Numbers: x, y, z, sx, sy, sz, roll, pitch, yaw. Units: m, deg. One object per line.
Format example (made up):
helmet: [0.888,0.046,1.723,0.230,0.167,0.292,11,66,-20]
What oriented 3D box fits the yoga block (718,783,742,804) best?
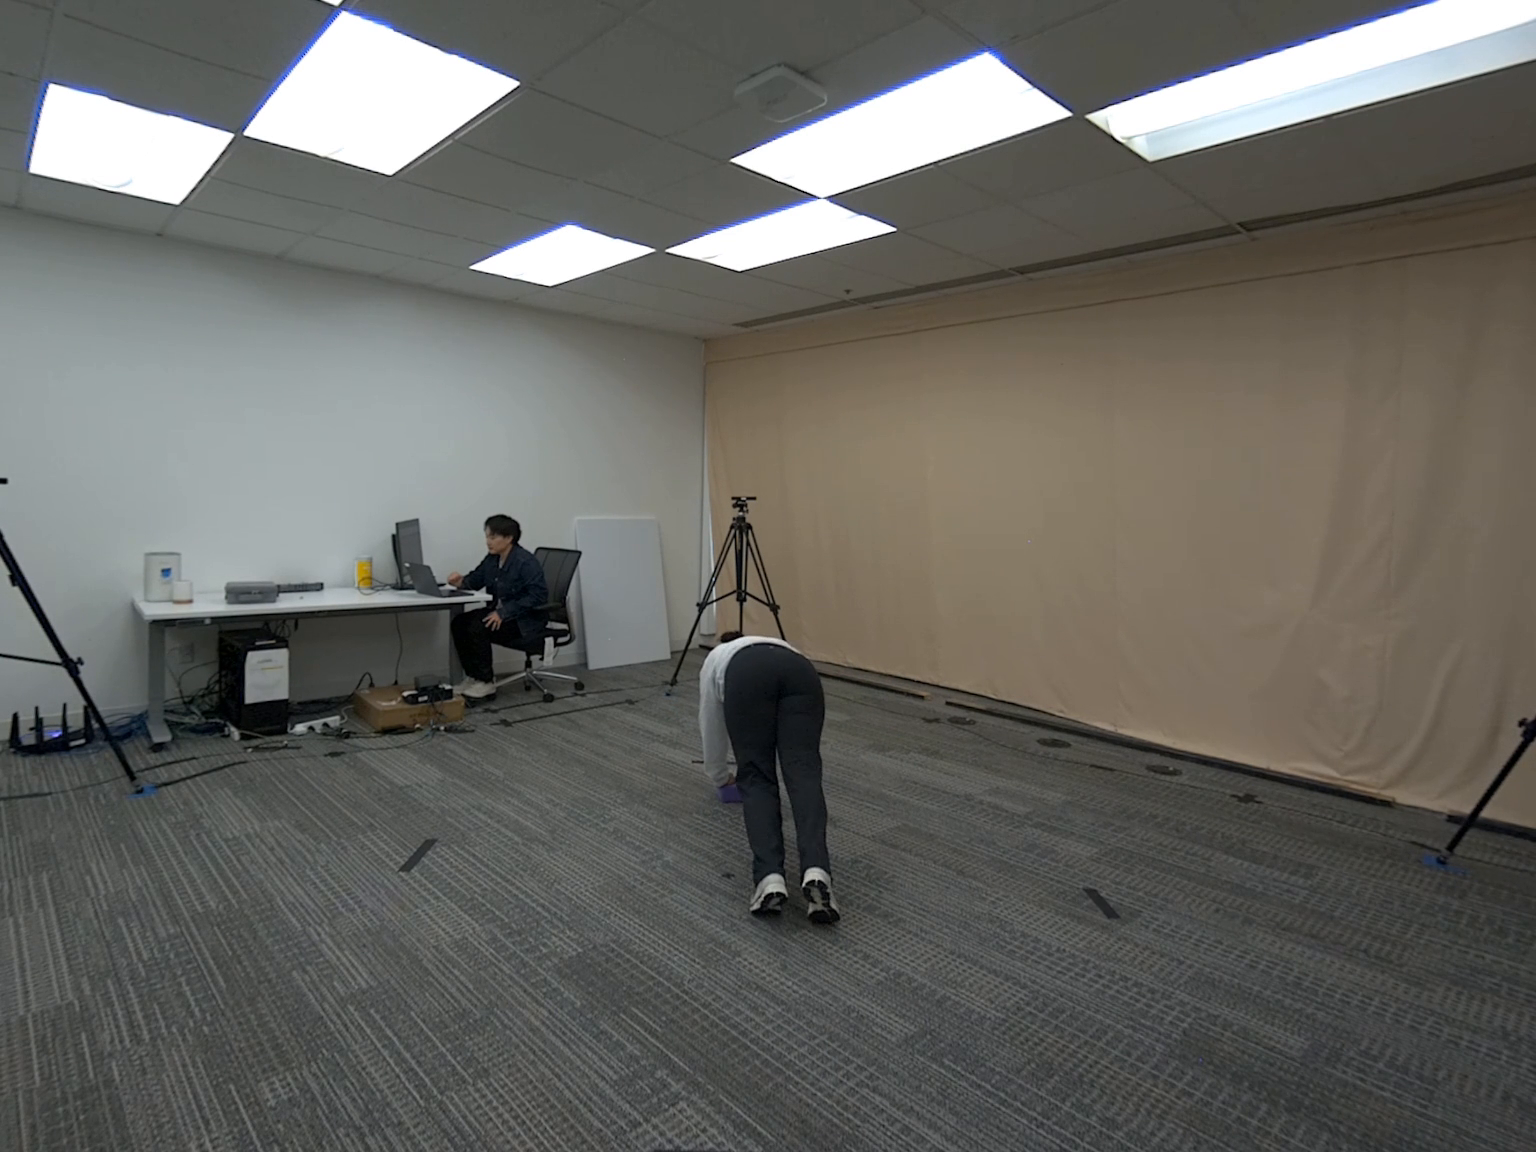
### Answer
yoga block: [-0.131,1.003,3.947,0.227,0.076,0.150,-1,4,-12]
